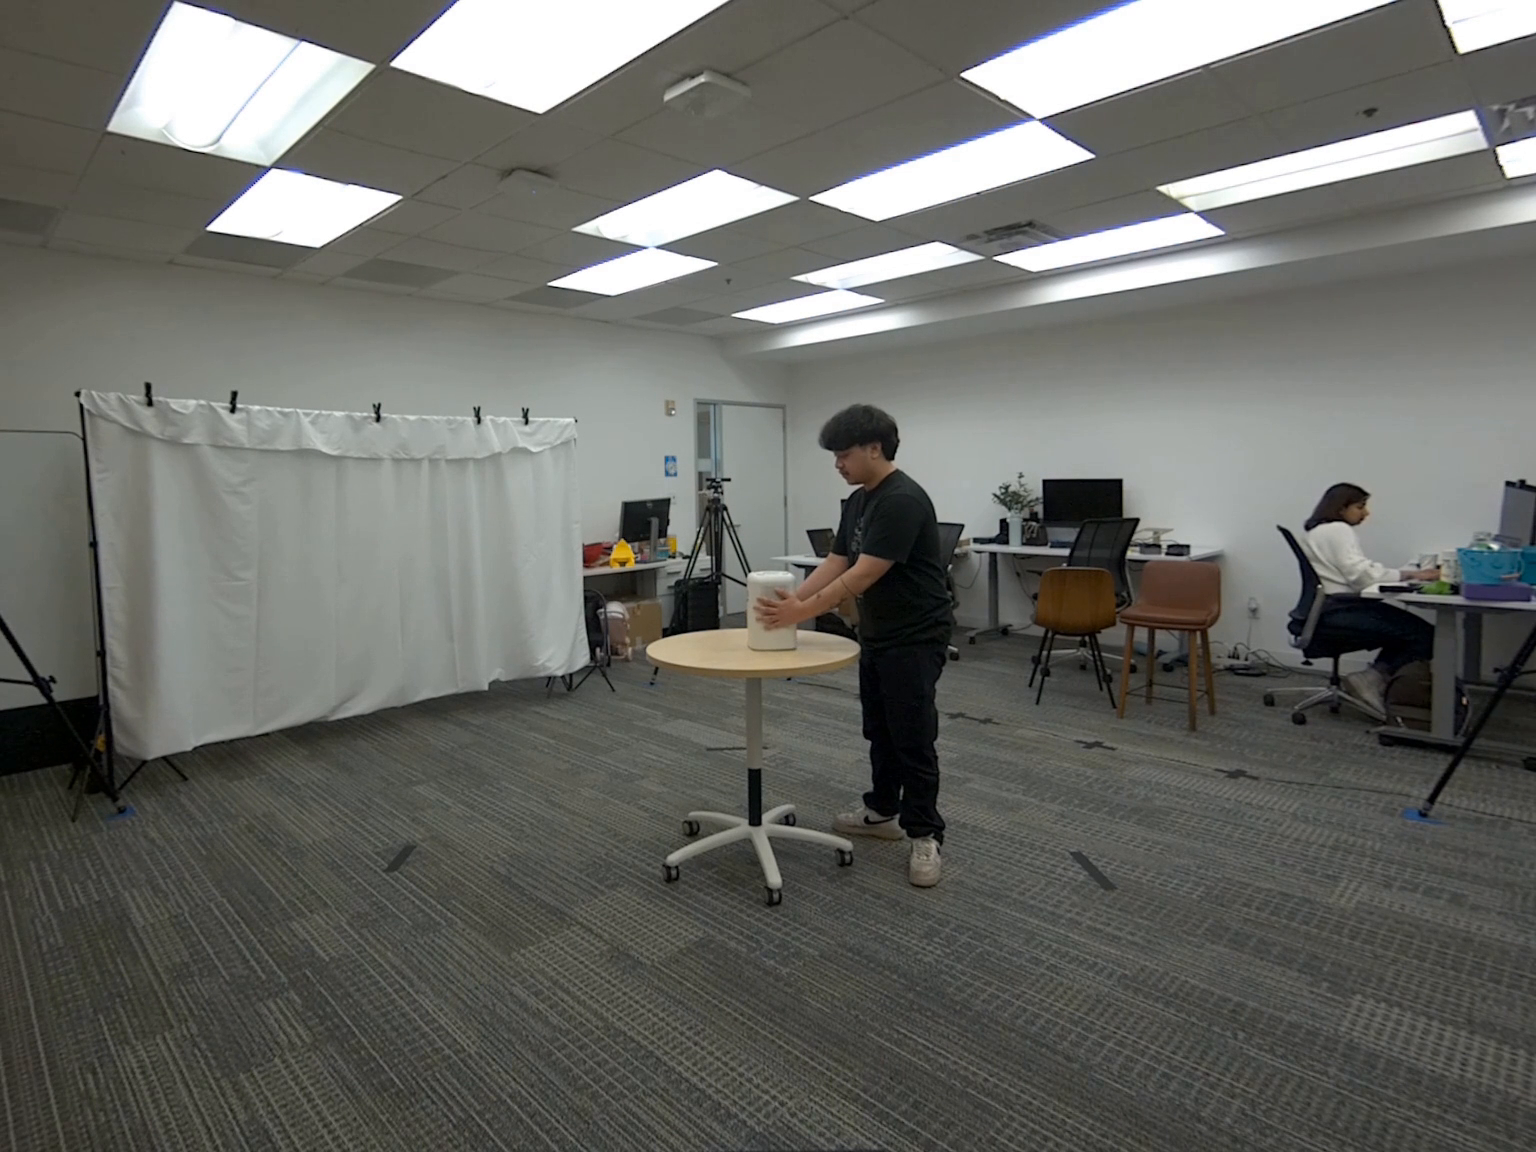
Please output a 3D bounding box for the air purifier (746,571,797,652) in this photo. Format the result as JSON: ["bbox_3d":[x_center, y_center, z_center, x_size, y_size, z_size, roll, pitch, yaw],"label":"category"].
[{"bbox_3d":[0.017,0.118,3.056,0.171,0.264,0.172,-2,4,-4],"label":"air purifier"}]
